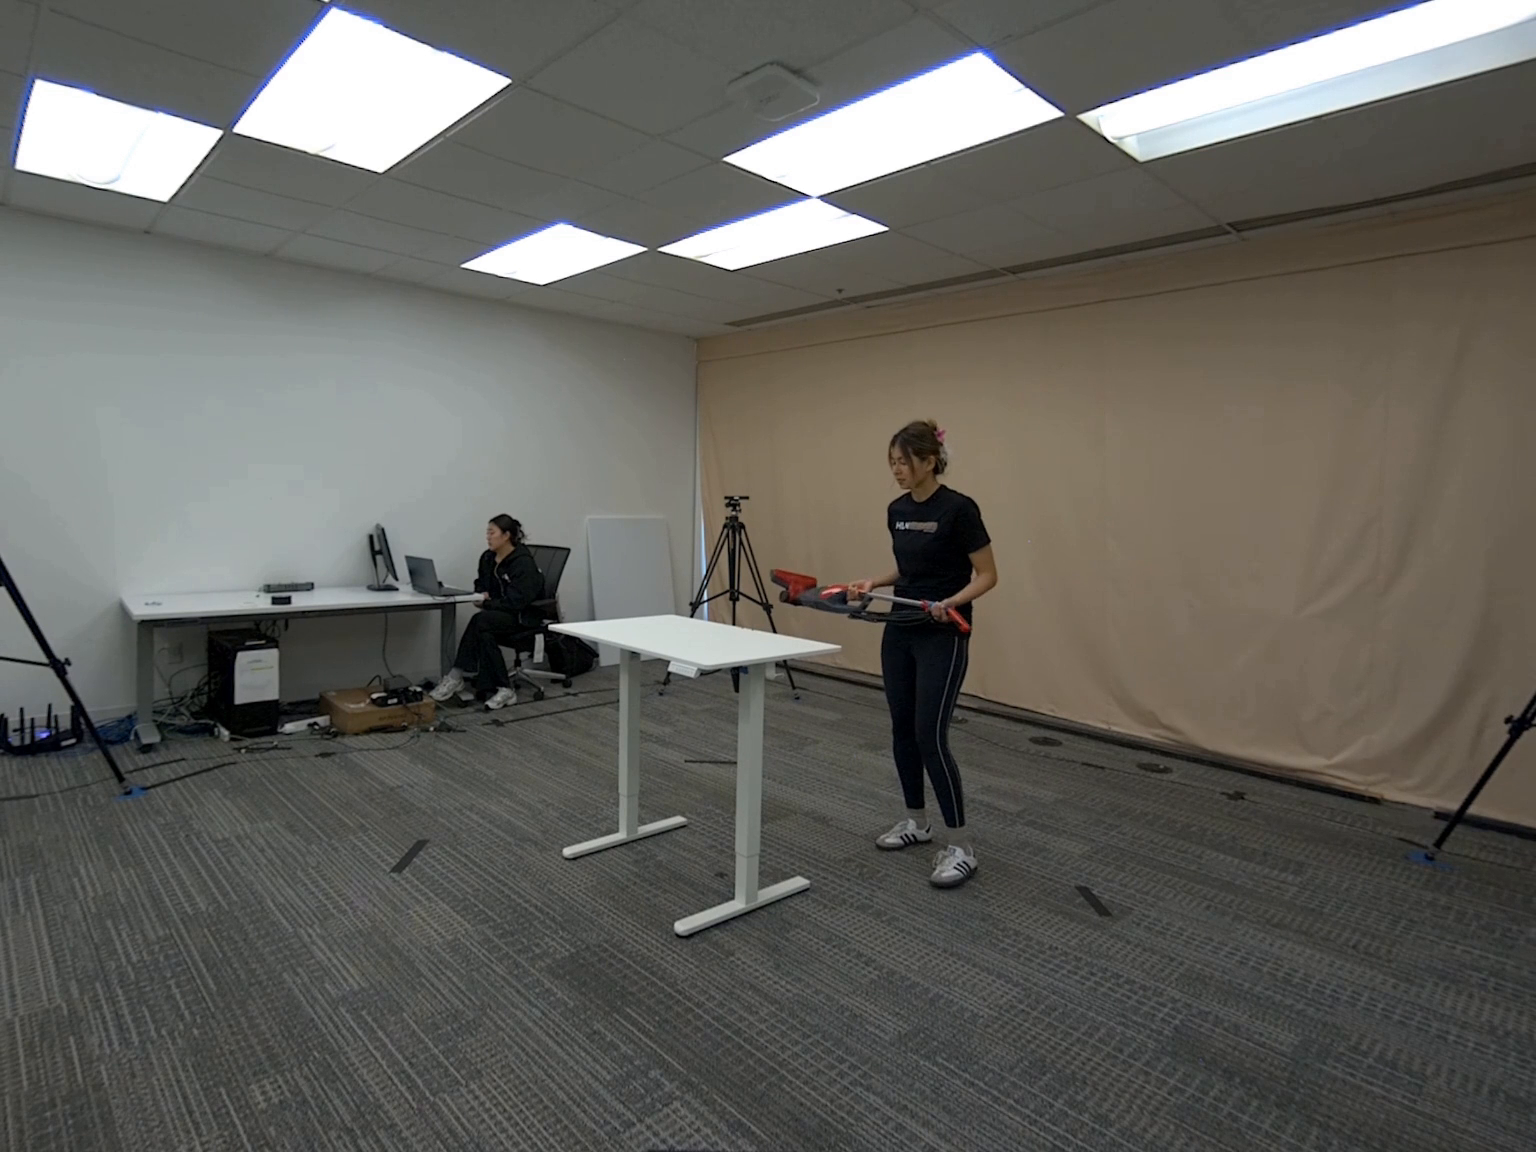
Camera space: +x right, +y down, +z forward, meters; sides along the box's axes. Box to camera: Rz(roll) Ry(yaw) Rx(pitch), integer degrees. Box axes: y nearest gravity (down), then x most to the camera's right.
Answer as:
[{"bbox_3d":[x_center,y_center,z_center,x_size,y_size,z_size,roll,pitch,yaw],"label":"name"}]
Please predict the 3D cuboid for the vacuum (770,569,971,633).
[{"bbox_3d":[0.383,0.125,3.321,0.246,0.144,1.075,13,0,-32],"label":"vacuum"}]
